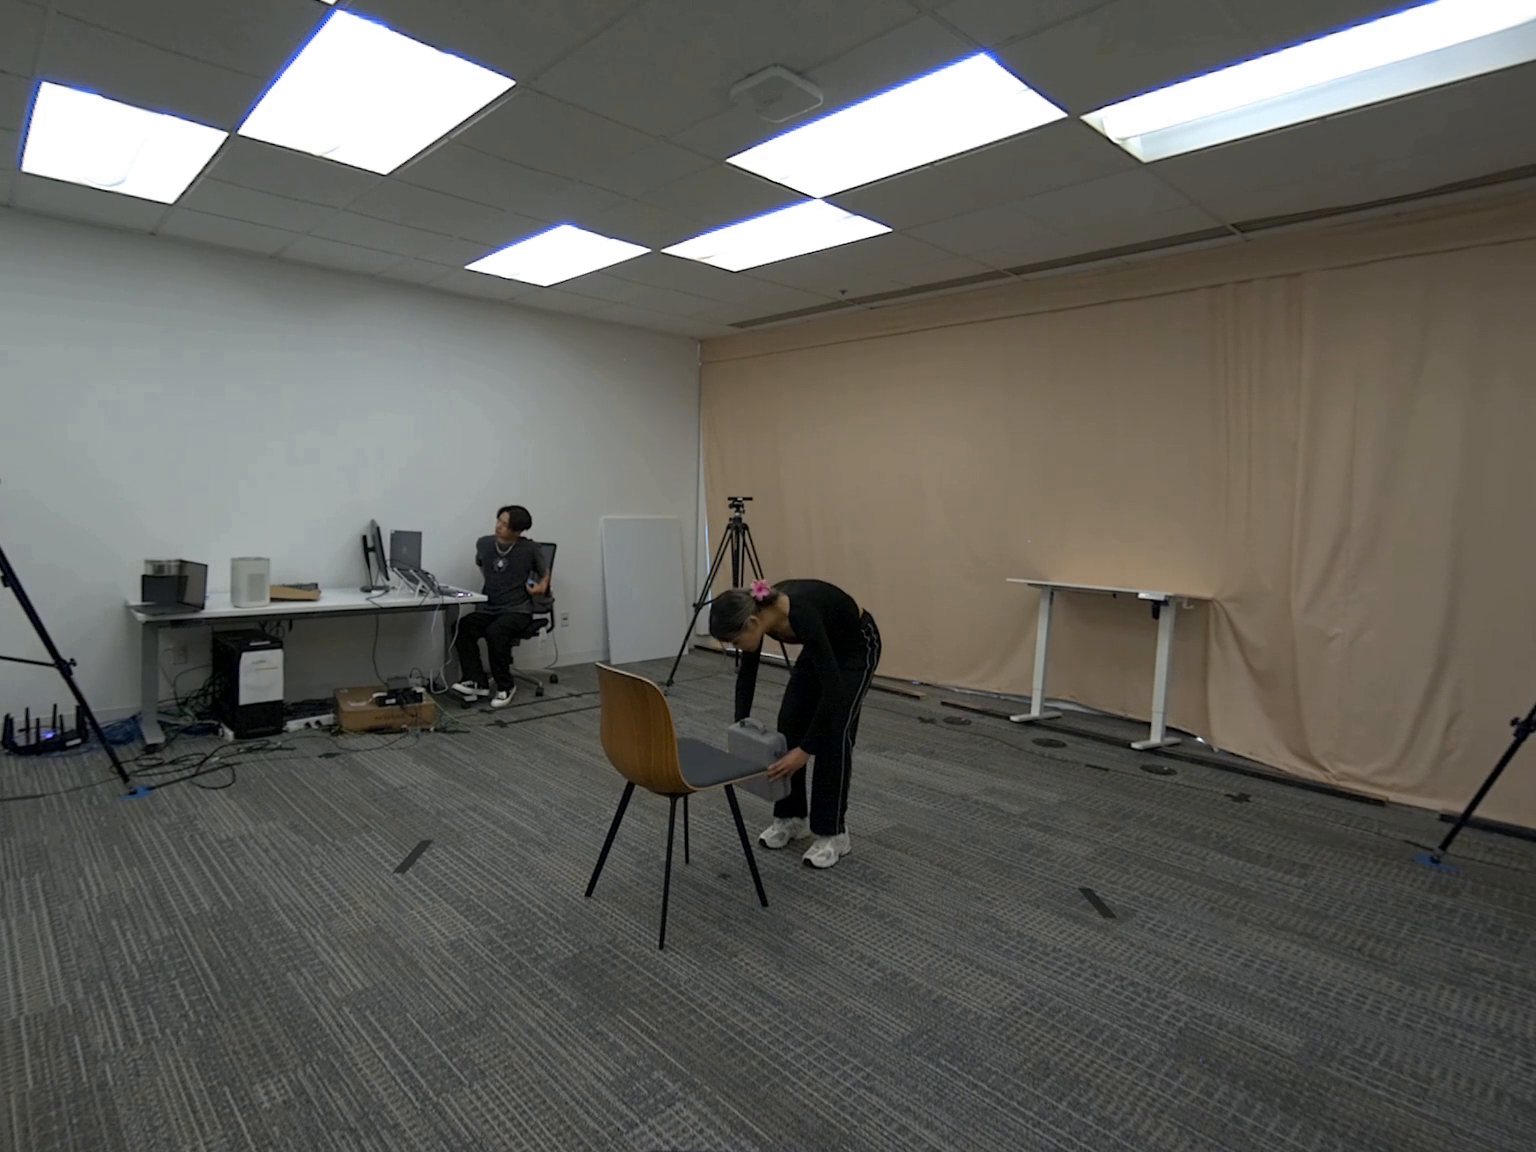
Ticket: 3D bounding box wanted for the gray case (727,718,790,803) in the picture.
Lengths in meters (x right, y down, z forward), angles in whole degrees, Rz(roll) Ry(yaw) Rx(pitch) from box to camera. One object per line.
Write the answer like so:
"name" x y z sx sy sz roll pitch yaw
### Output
"gray case" -0.048 0.686 3.188 0.102 0.258 0.263 -14 13 -39
